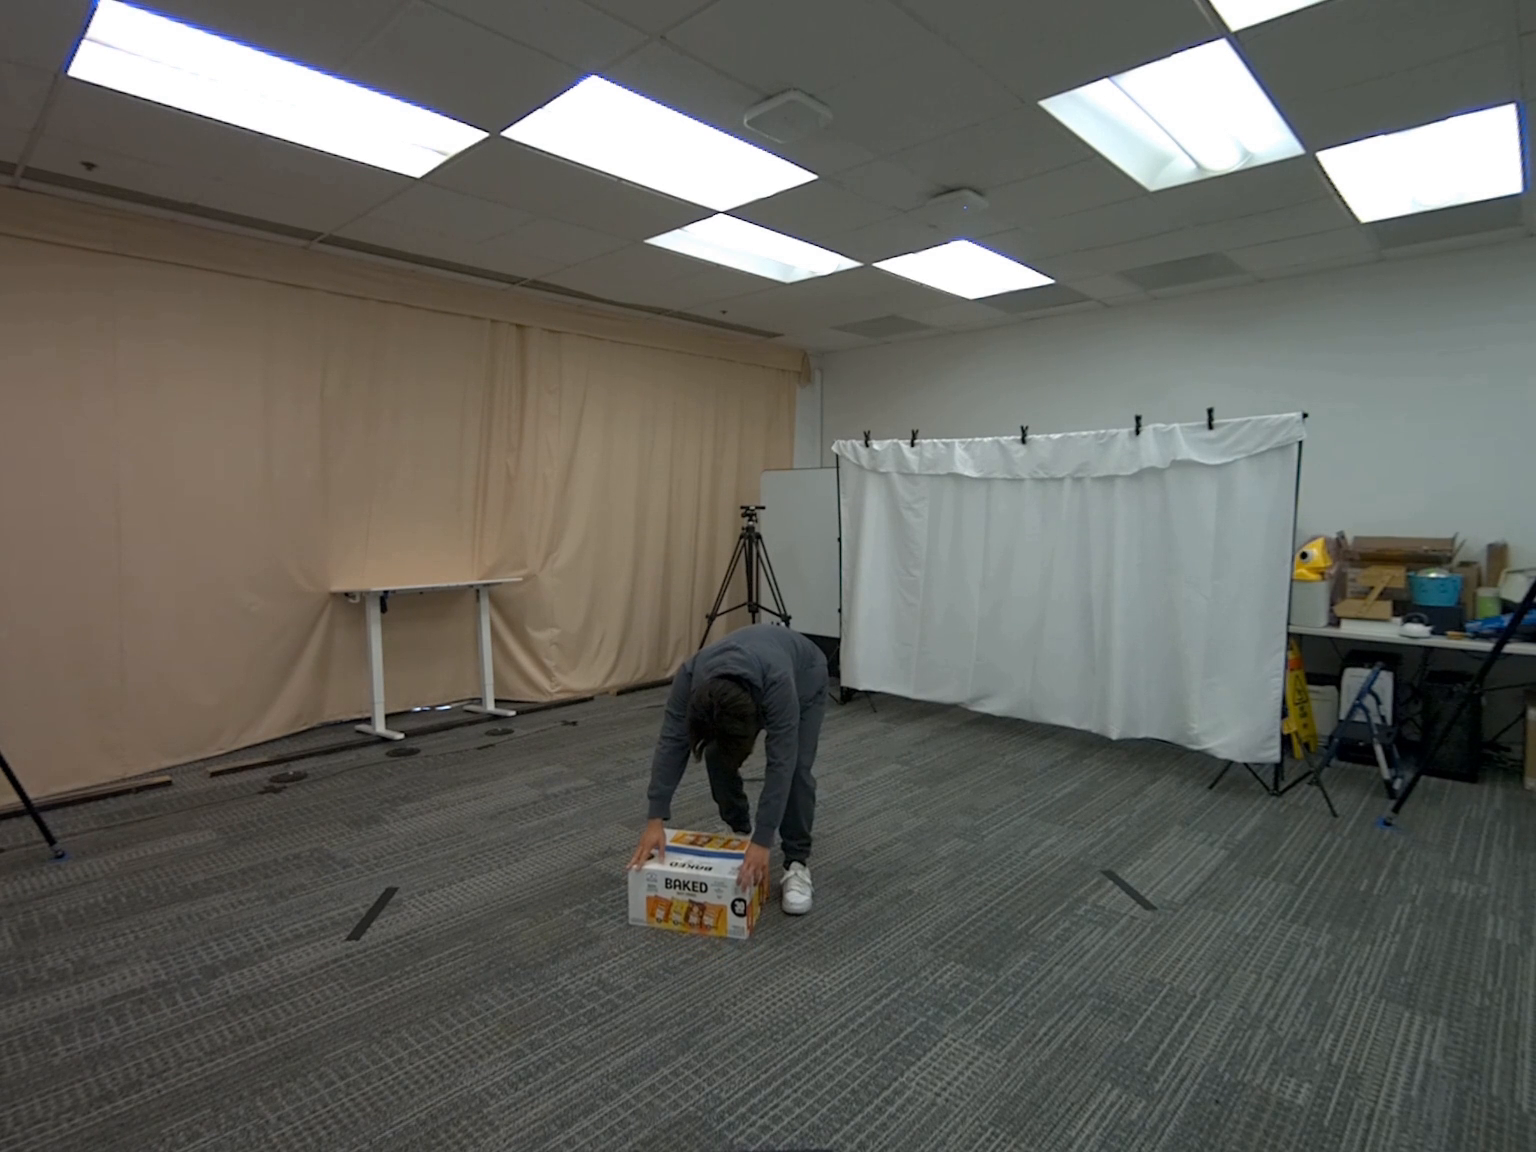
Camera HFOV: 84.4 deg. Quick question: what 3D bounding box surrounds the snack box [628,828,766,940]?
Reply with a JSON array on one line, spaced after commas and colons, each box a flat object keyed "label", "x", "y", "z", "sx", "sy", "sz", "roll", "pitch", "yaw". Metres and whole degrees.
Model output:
[{"label": "snack box", "x": -0.228, "y": 1.054, "z": 2.904, "sx": 0.411, "sy": 0.205, "sz": 0.336, "roll": 0, "pitch": 4, "yaw": 14}]
